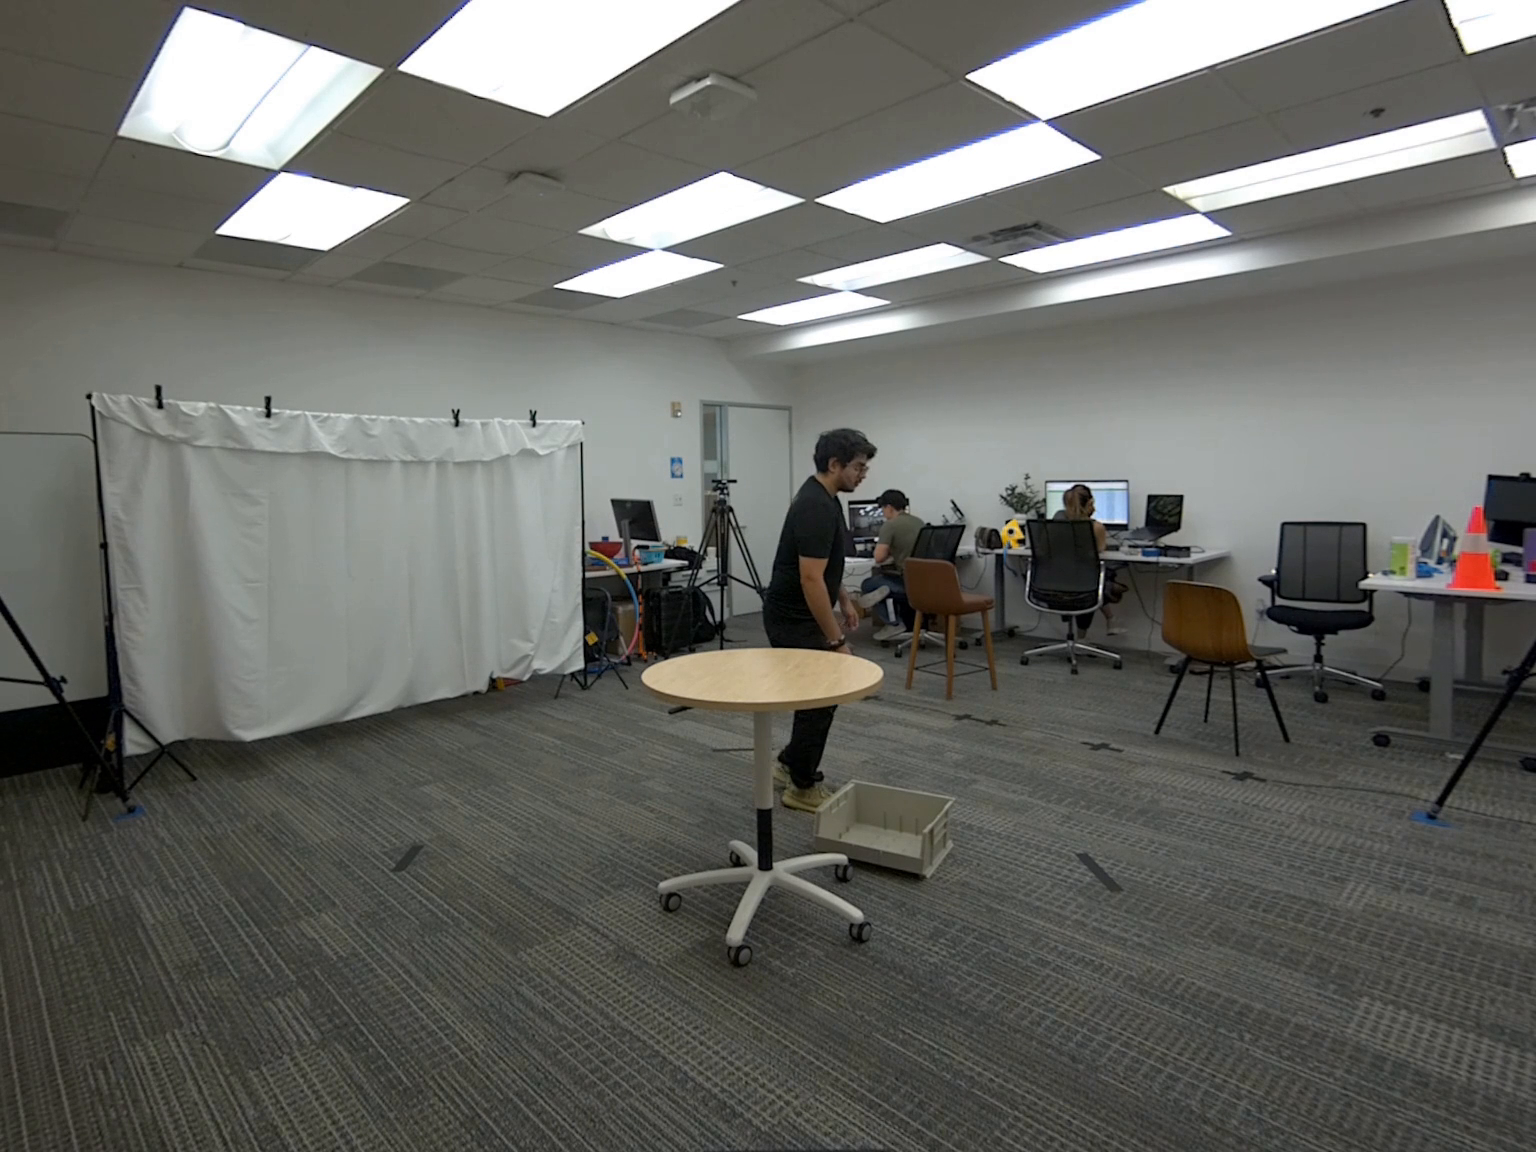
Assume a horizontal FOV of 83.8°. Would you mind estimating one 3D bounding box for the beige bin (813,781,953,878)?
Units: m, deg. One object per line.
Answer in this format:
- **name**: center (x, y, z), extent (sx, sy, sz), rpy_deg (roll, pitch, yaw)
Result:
- **beige bin**: center (0.442, 0.944, 3.182), extent (0.433, 0.188, 0.369), rpy_deg (2, 5, 30)
